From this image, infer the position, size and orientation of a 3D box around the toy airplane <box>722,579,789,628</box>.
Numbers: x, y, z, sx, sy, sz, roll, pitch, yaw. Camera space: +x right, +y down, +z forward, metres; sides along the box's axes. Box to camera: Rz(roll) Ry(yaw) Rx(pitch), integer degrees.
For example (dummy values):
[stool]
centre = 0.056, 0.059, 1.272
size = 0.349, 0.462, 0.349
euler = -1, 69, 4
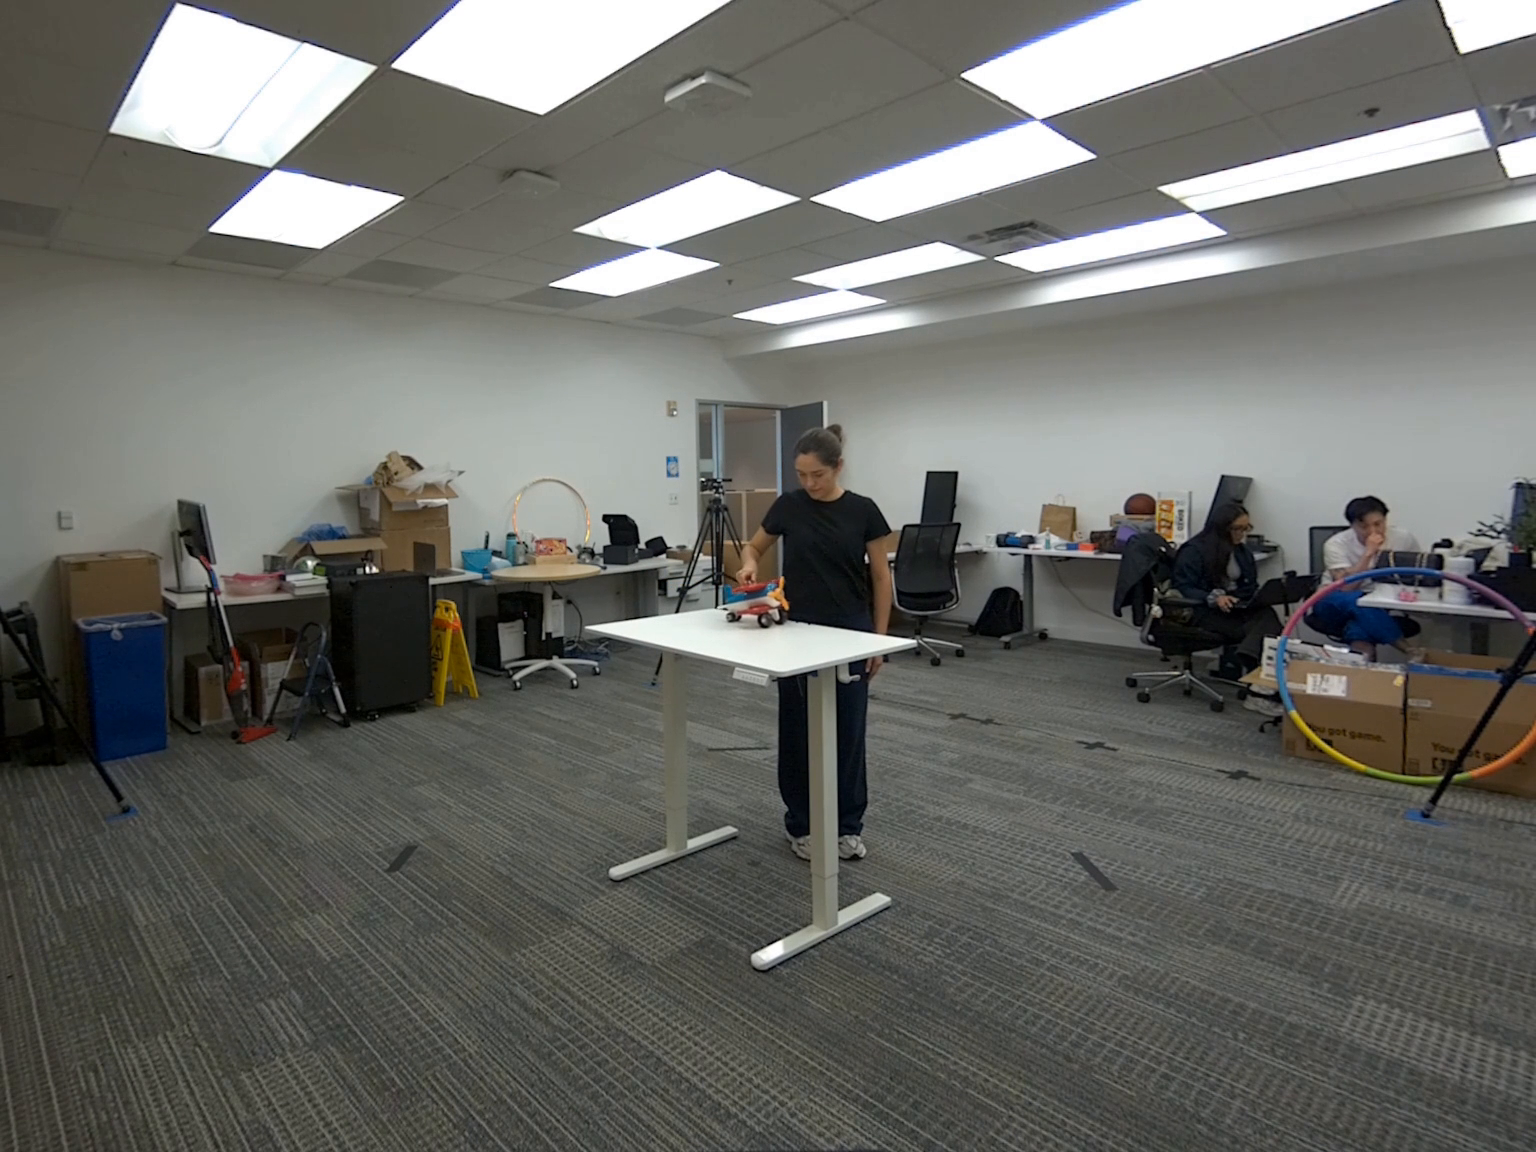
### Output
[toy airplane]
centre = -0.060, 0.094, 3.031
size = 0.262, 0.155, 0.250
euler = 1, 7, 9
